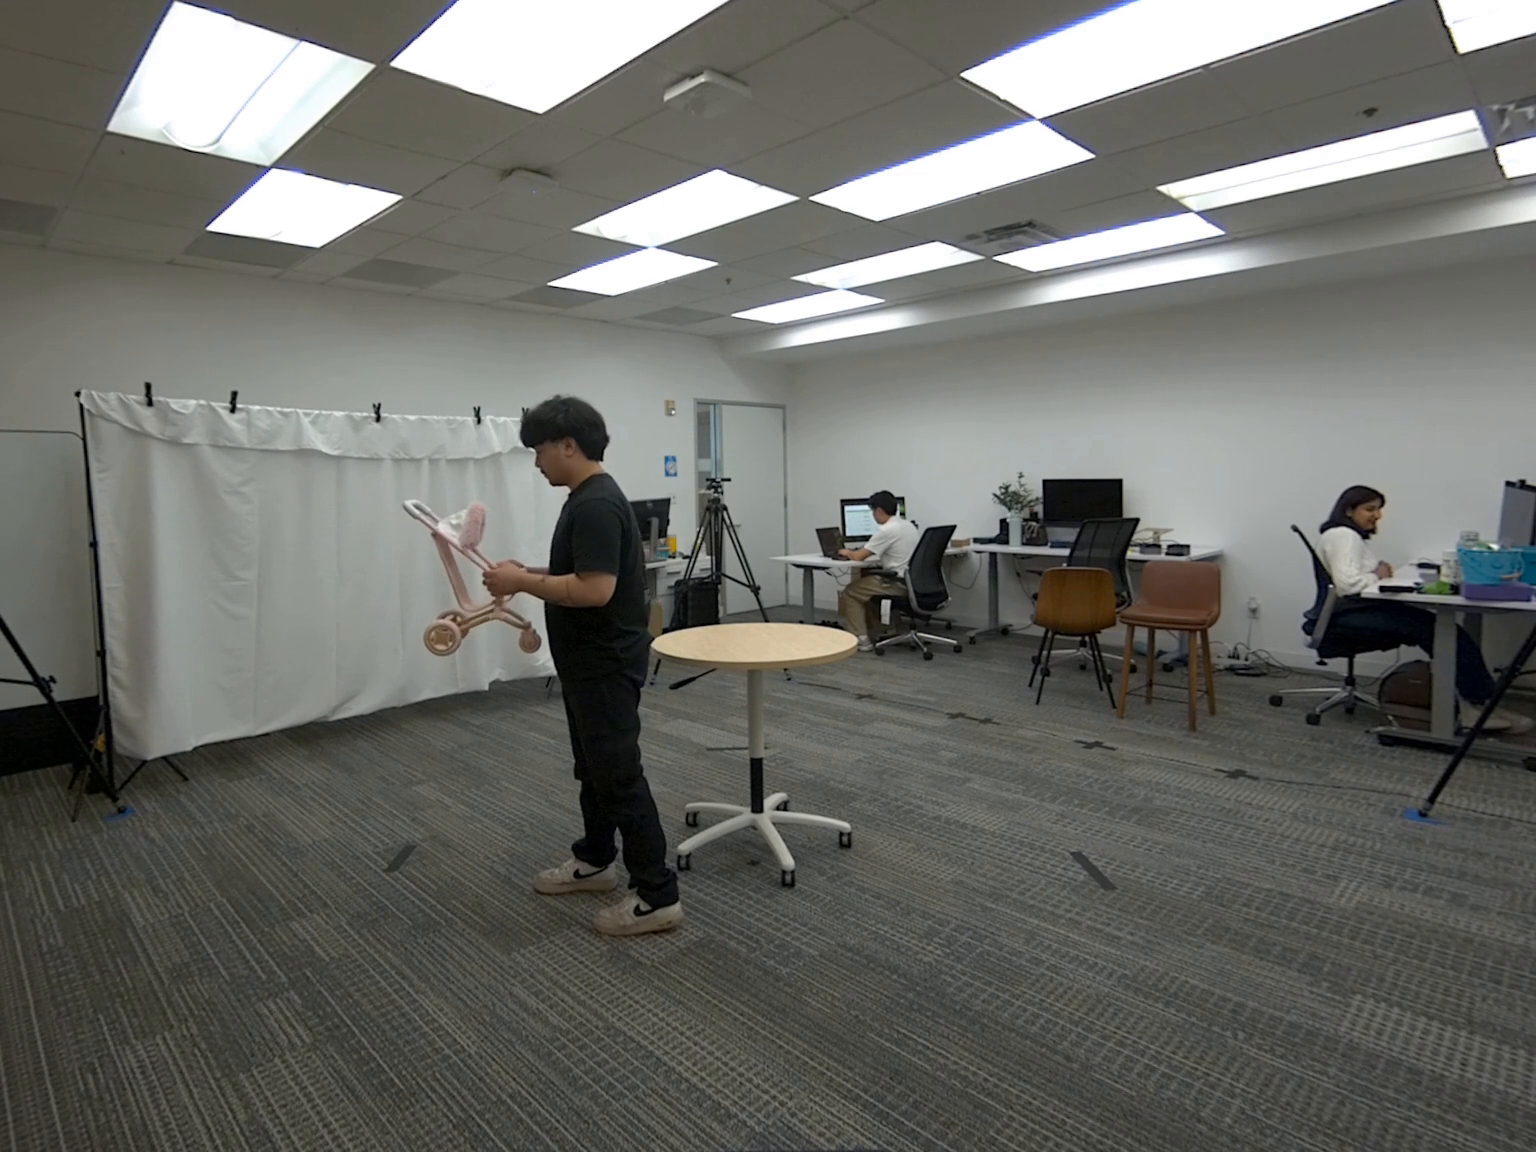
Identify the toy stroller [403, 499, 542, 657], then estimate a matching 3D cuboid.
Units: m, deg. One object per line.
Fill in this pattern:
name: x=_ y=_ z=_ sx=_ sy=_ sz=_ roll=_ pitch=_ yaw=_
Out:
toy stroller: x=-0.915 y=0.008 z=2.676 sx=0.339 sy=0.533 sz=0.284 roll=-9 pitch=4 yaw=-7
